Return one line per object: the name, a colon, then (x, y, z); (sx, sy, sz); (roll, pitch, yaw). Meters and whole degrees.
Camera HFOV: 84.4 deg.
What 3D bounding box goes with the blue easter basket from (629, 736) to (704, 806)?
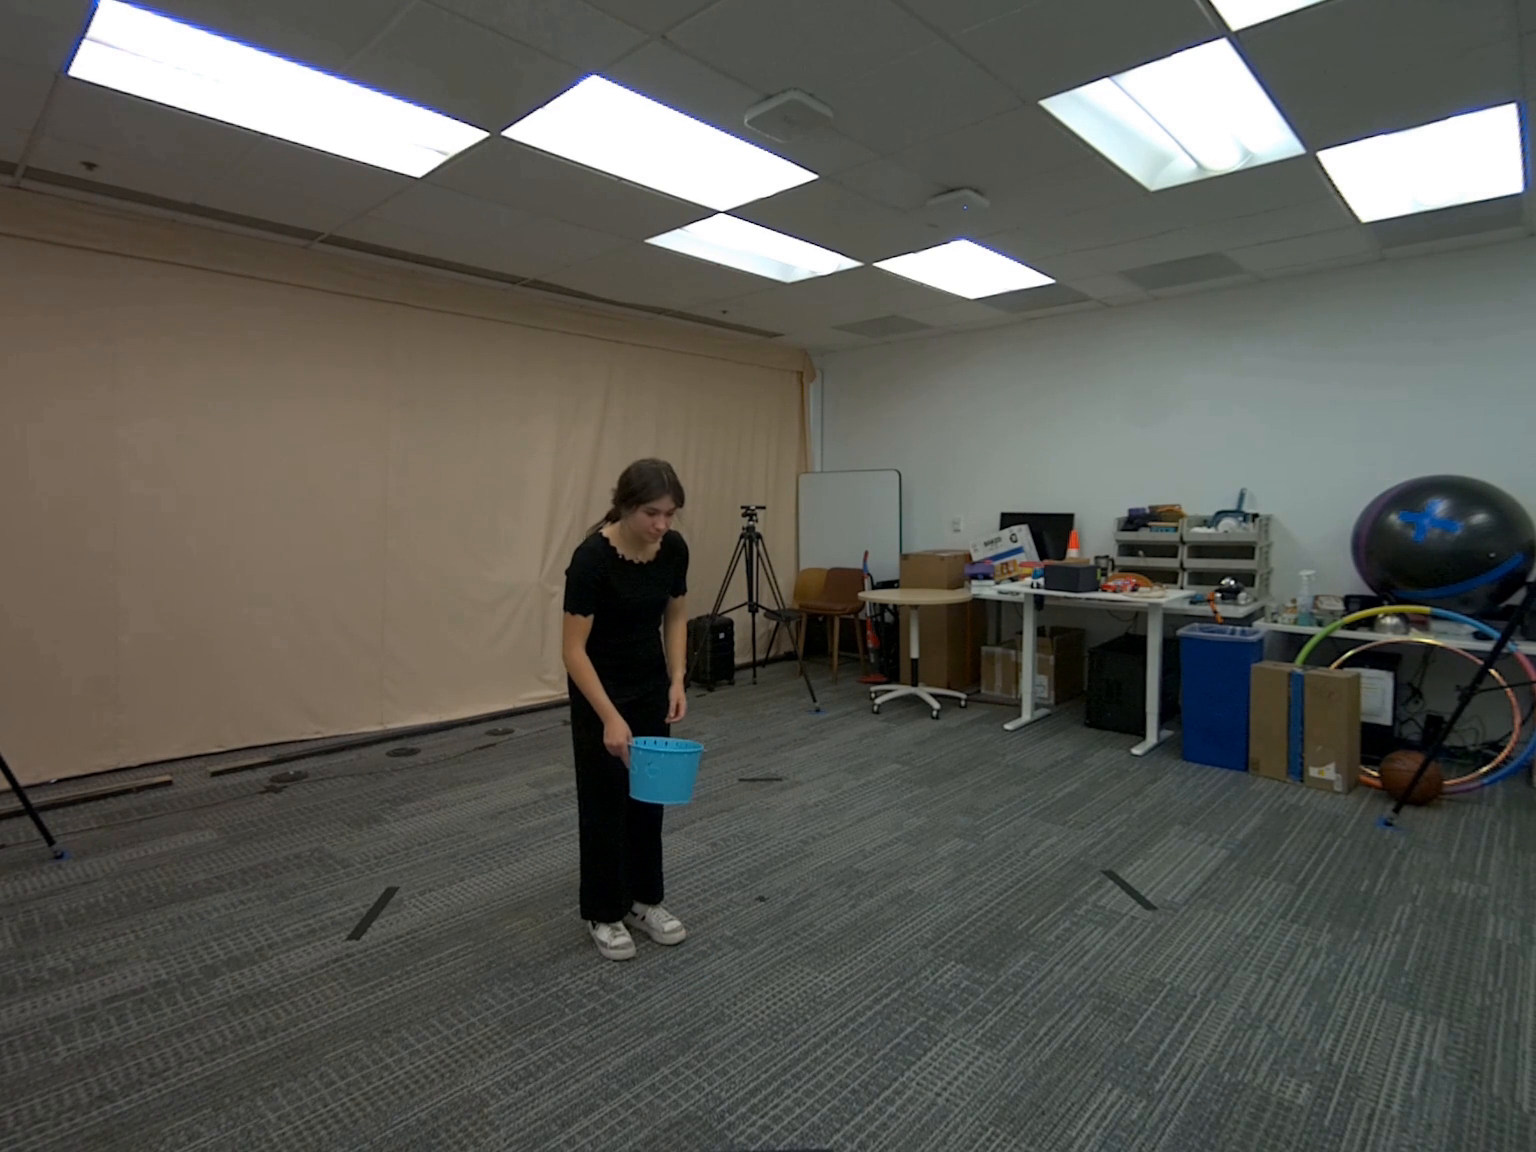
blue easter basket: (-0.301, 0.566, 2.456); (0.243, 0.156, 0.243); (4, -5, -2)
